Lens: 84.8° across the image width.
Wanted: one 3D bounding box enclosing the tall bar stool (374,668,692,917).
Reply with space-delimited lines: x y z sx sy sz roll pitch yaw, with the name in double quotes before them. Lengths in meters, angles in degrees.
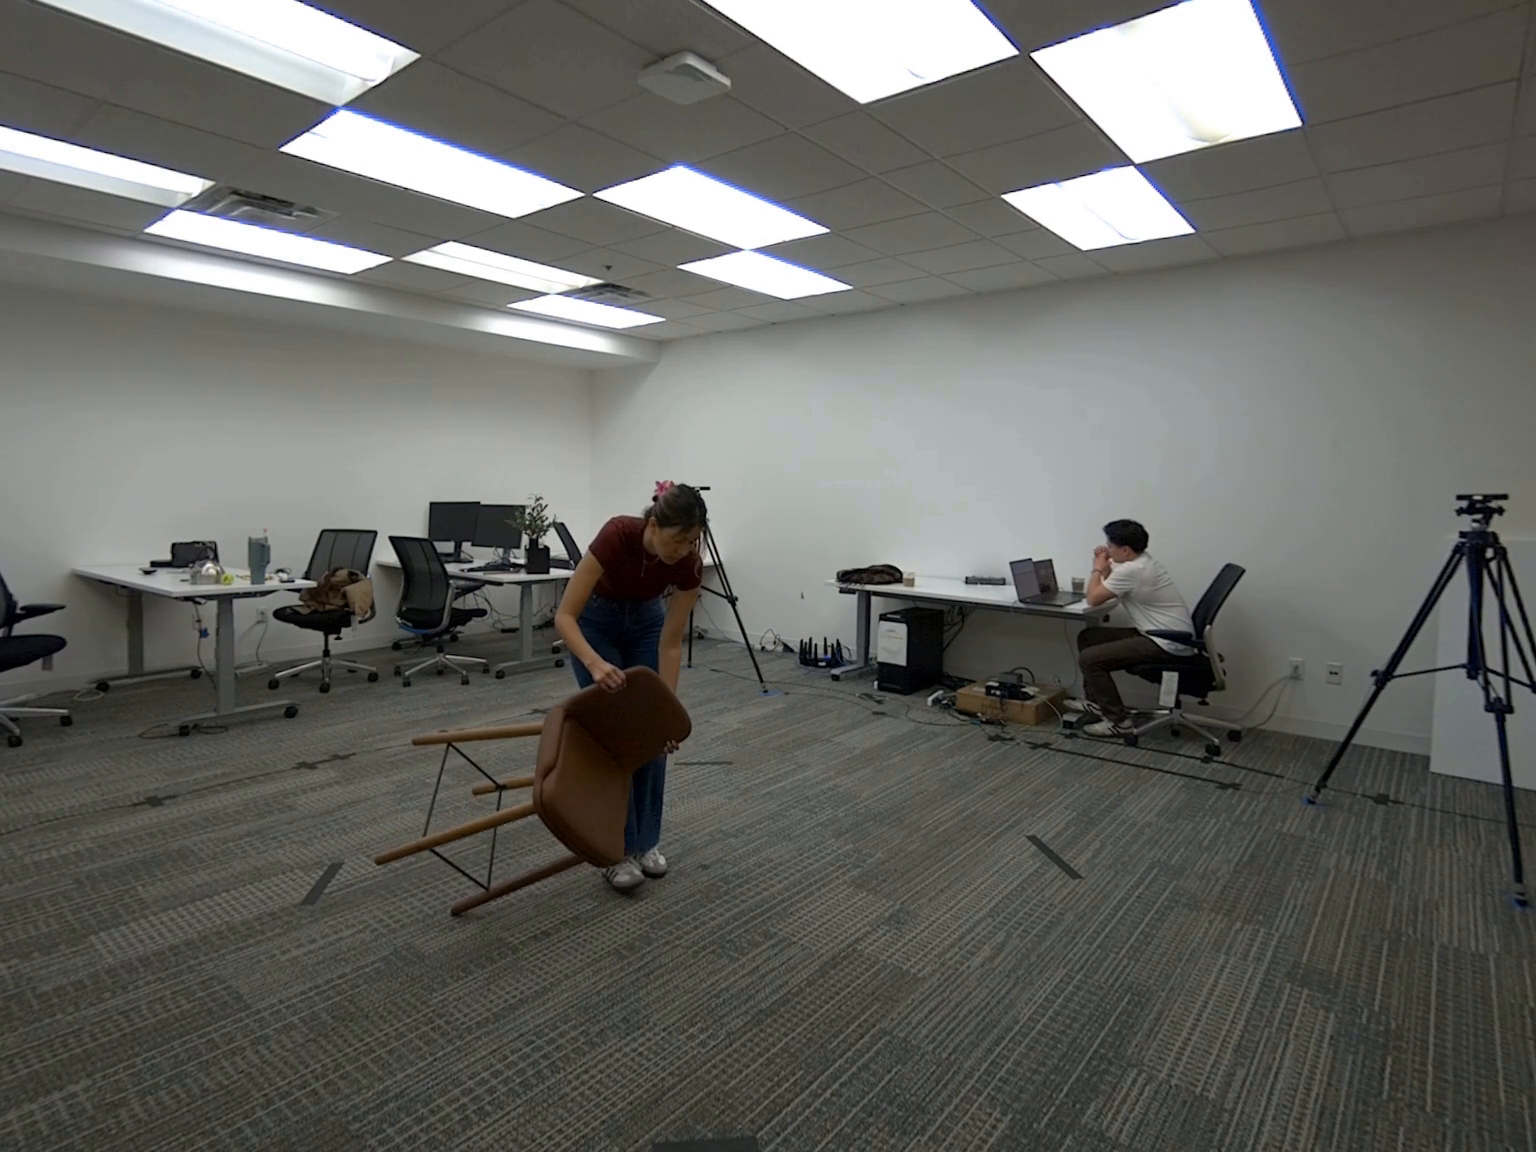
"tall bar stool" -0.712 0.674 2.687 0.897 0.438 0.482 -19 41 12
